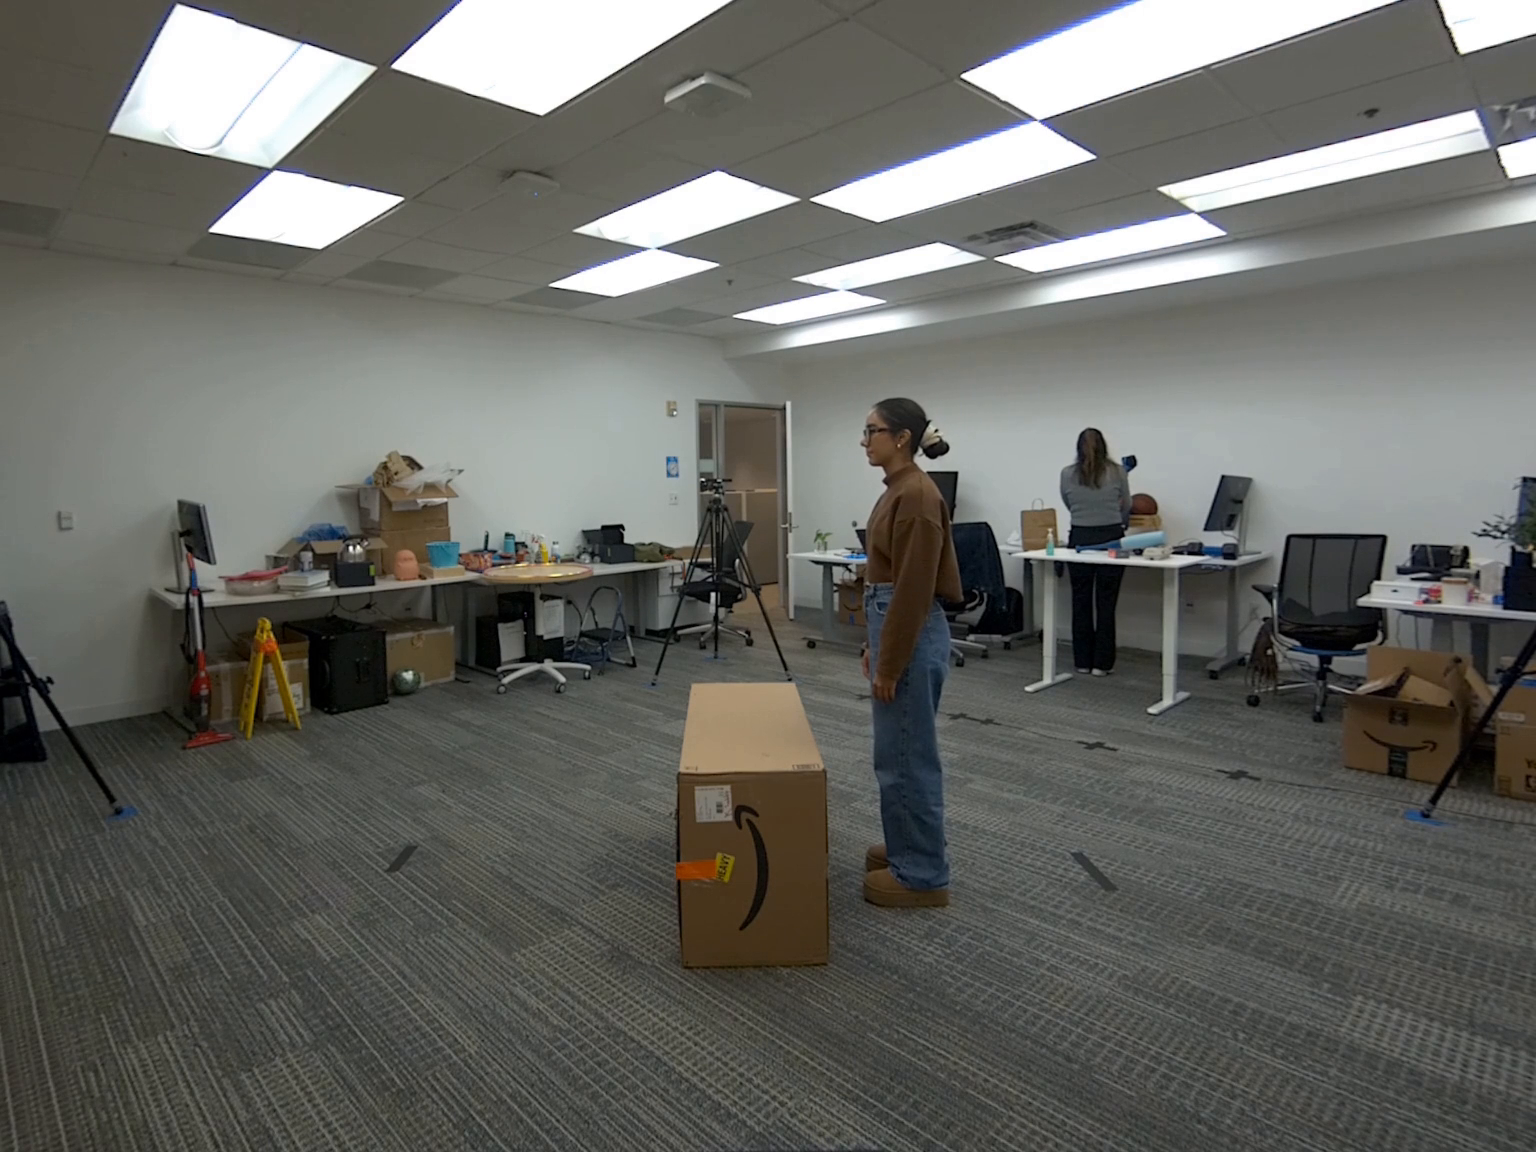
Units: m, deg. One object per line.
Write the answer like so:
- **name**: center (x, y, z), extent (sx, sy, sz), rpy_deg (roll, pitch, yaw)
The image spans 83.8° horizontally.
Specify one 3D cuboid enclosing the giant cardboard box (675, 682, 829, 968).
- **giant cardboard box**: center (-0.071, 0.778, 2.939), extent (0.425, 0.575, 1.032), rpy_deg (-1, 6, -3)
